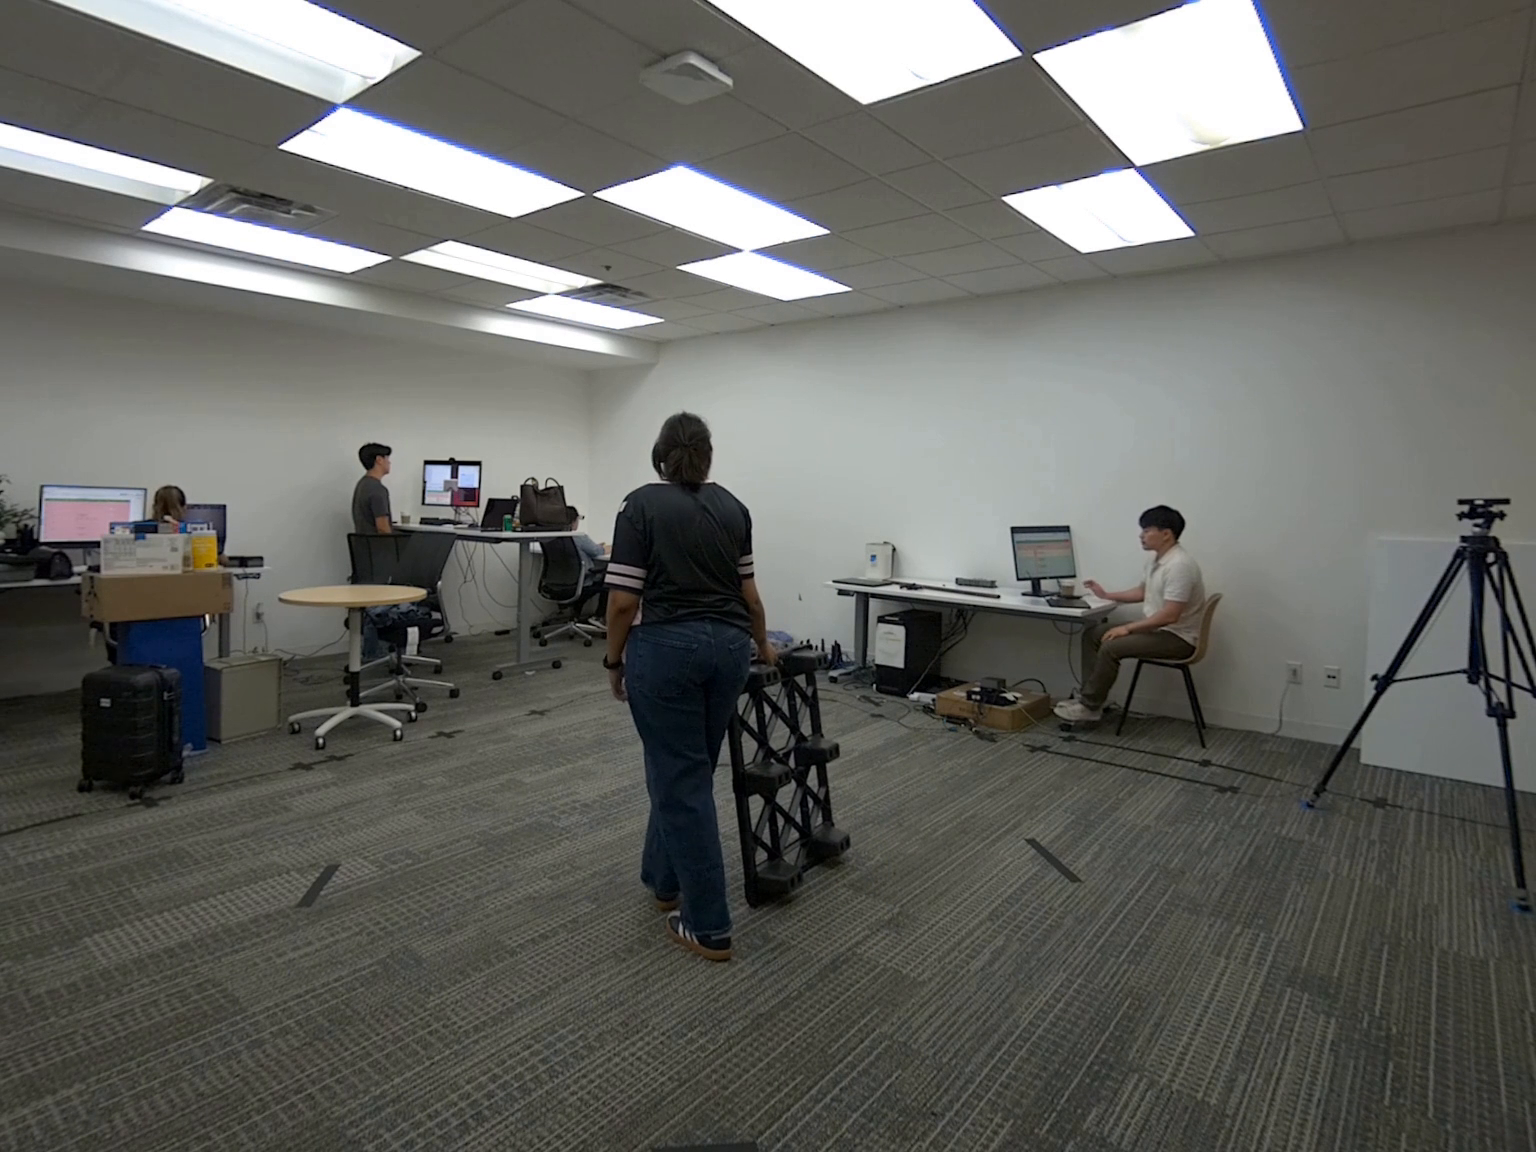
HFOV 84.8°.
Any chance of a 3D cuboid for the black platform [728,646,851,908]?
[{"bbox_3d":[0.089,0.682,3.073,0.147,0.808,0.588,-9,-2,33],"label":"black platform"}]
